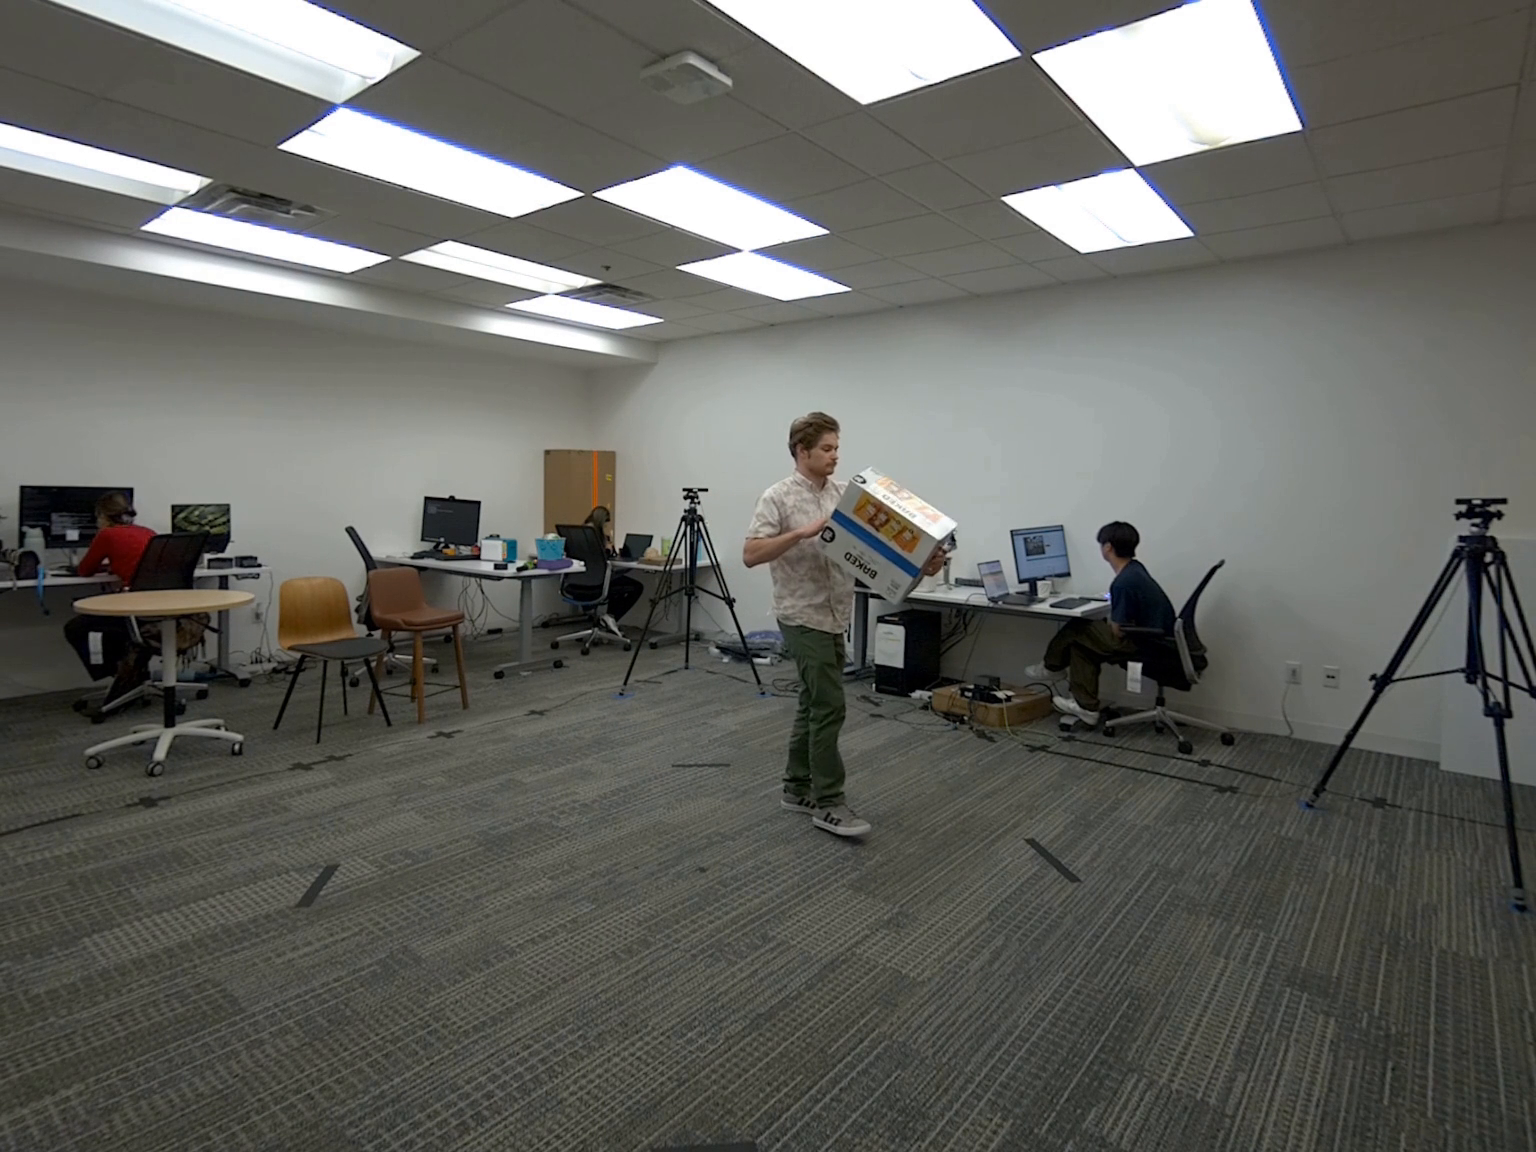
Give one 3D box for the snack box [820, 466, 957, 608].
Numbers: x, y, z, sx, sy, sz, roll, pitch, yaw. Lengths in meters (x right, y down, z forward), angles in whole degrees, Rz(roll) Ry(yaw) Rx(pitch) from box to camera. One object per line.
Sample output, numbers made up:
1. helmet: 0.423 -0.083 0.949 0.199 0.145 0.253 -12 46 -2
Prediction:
1. snack box: 0.448 -0.158 3.304 0.415 0.336 0.203 38 35 17
